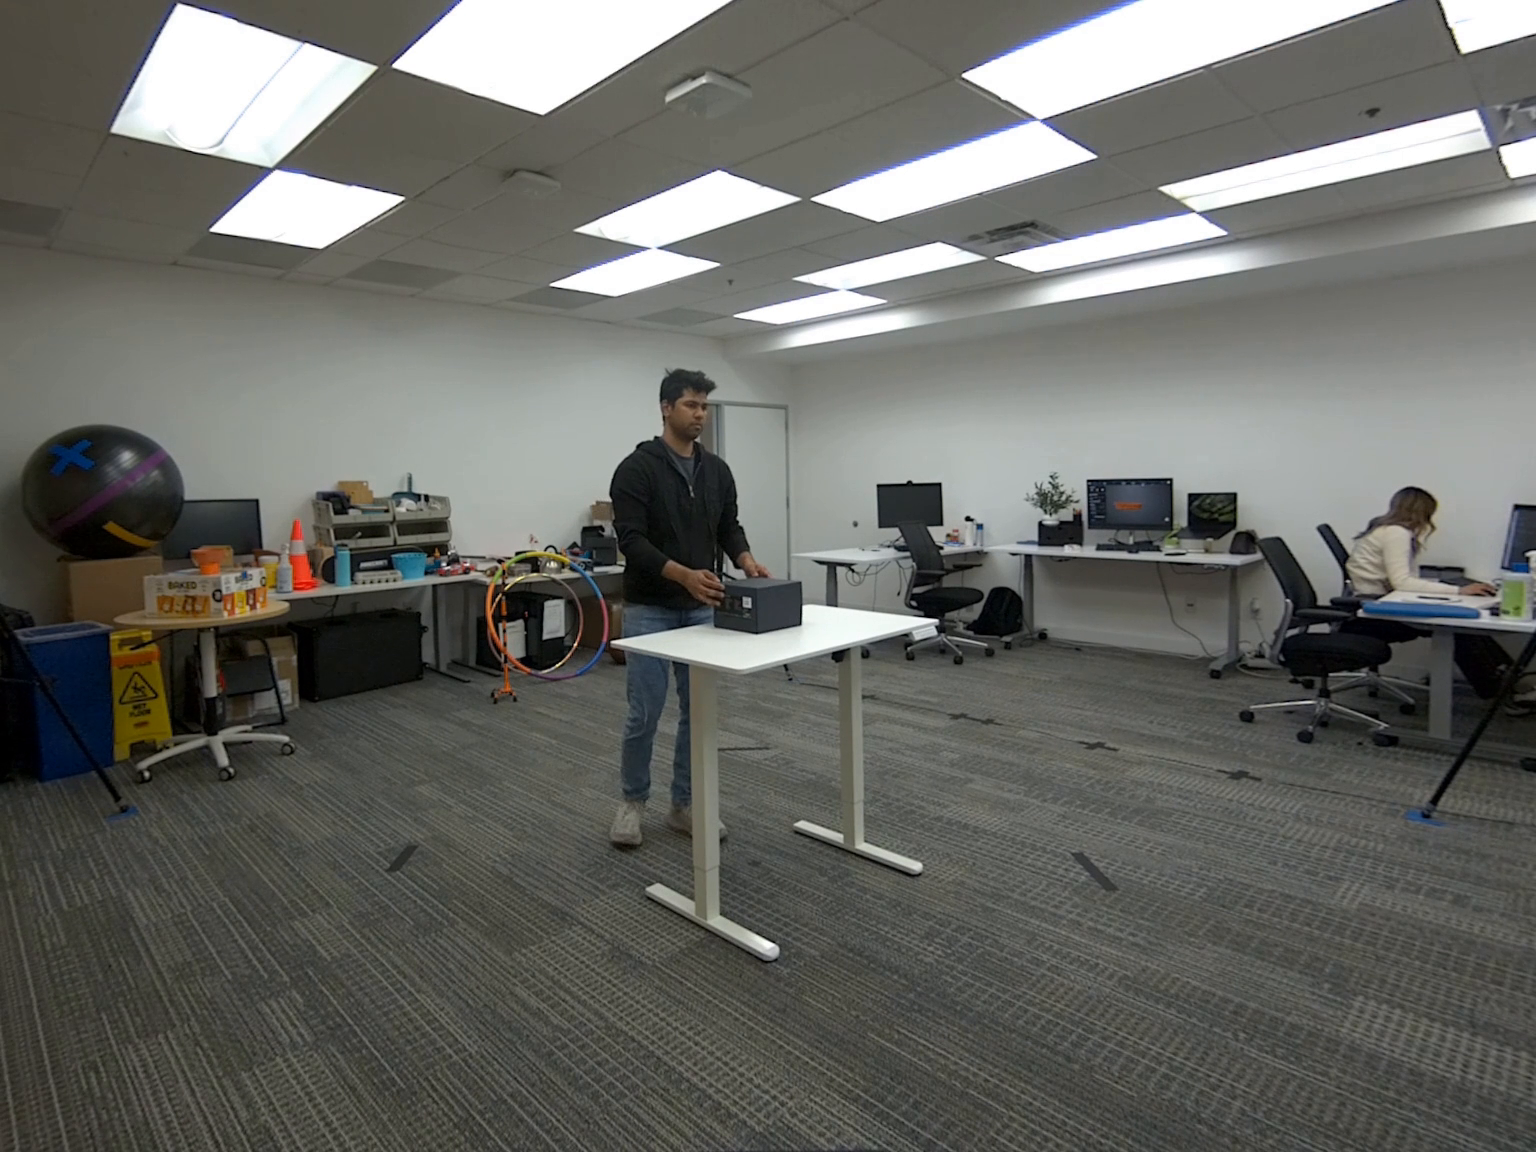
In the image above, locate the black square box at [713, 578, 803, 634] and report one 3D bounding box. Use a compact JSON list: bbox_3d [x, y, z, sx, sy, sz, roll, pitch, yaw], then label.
[{"bbox_3d":[-0.032,0.093,2.966,0.222,0.155,0.224,-6,7,-44],"label":"black square box"}]
